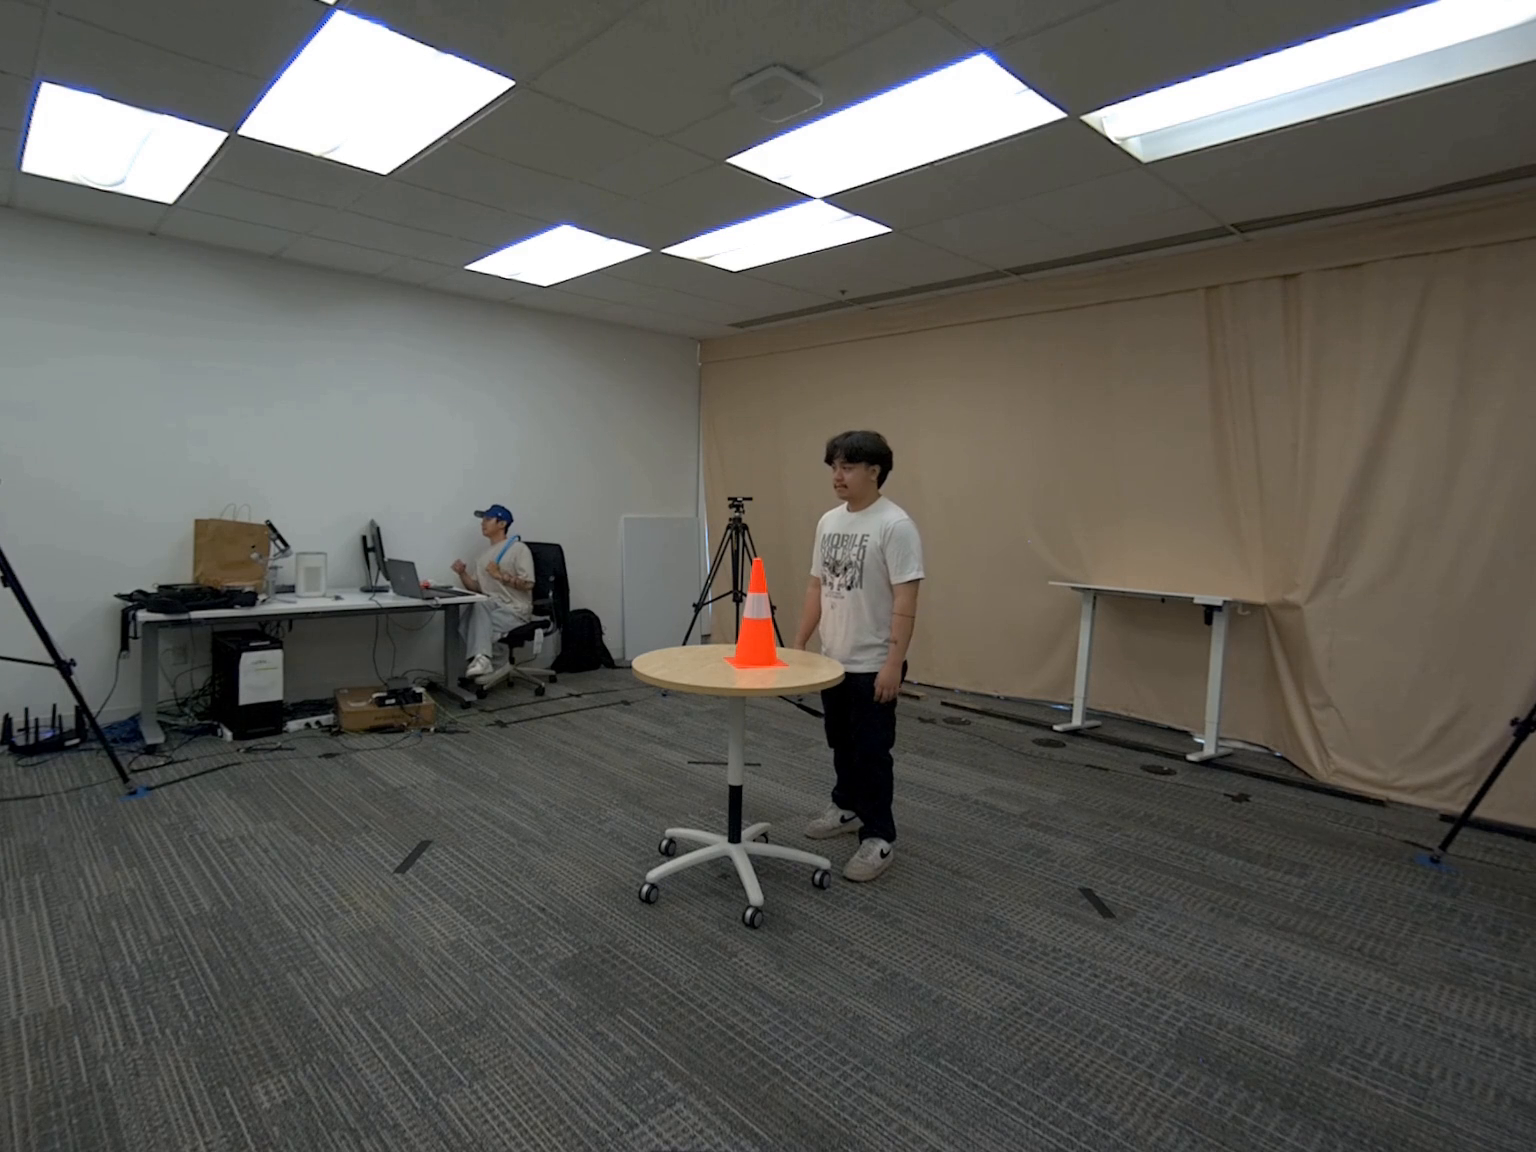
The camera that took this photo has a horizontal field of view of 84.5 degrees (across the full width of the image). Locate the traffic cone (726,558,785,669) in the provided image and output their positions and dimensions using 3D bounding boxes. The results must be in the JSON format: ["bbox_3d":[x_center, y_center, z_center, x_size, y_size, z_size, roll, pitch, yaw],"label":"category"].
[{"bbox_3d":[-0.043,0.131,3.057,0.200,0.382,0.209,-1,6,-25],"label":"traffic cone"}]
